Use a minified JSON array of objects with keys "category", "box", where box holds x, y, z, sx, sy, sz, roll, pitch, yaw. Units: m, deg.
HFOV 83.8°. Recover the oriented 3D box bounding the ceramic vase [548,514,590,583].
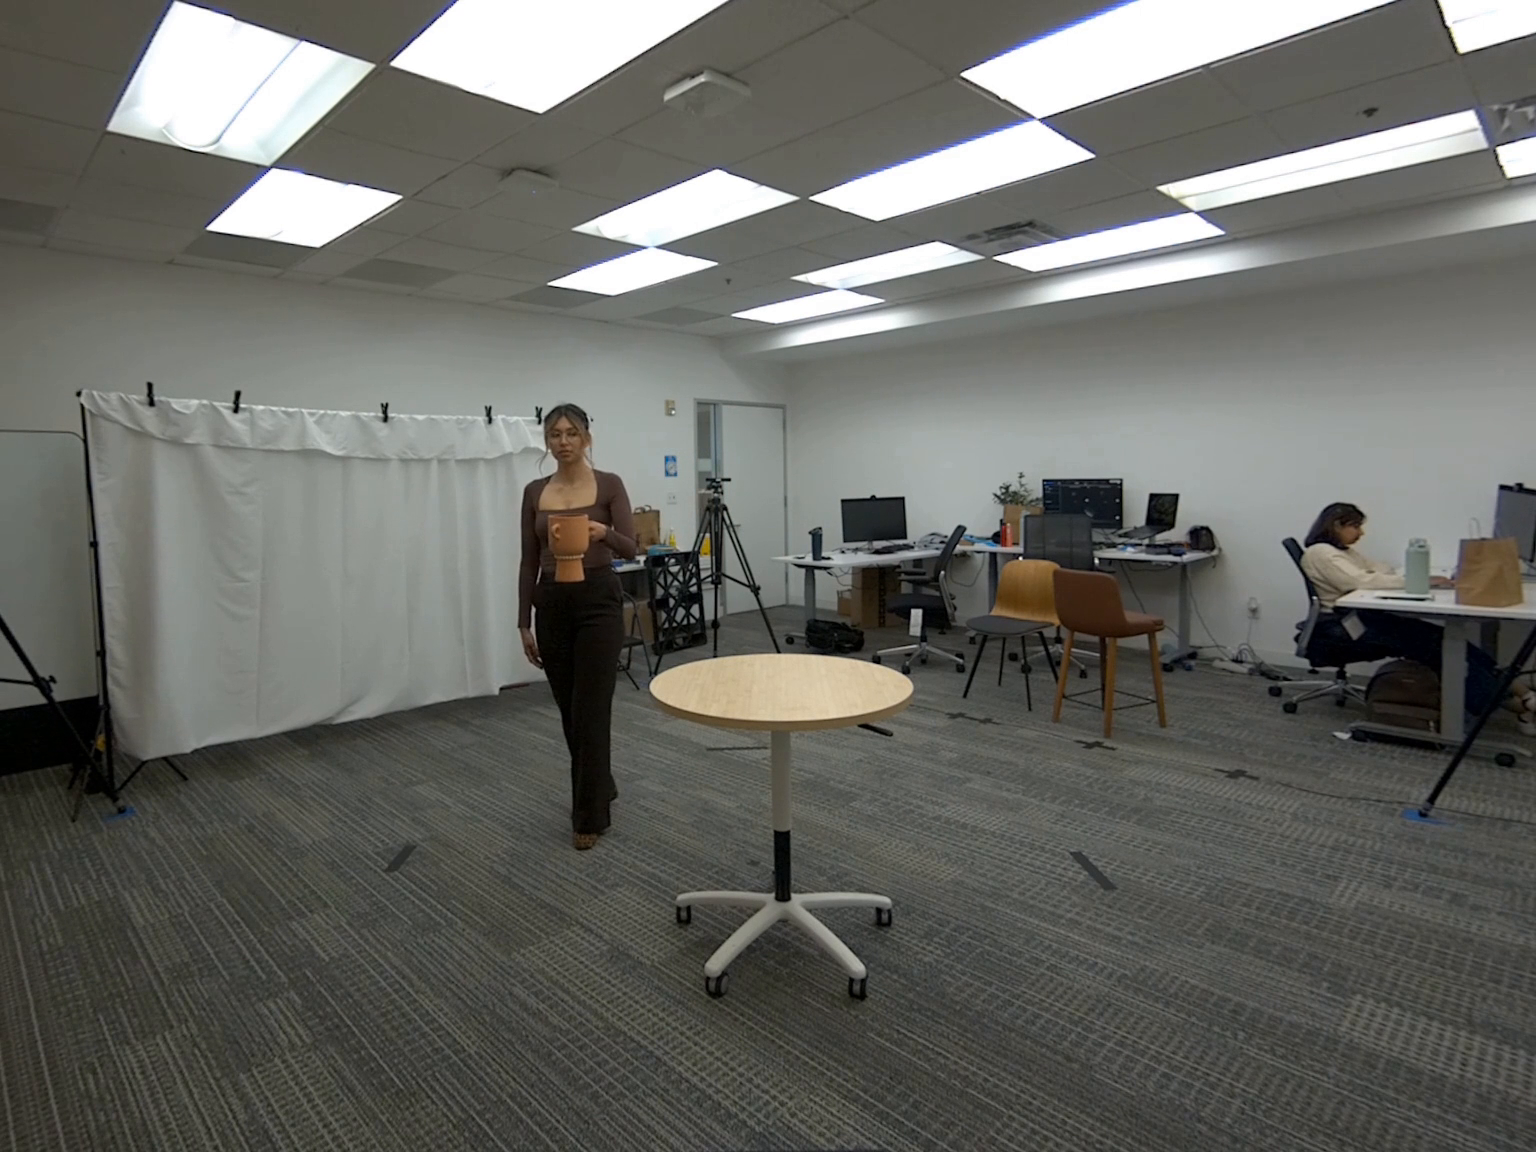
[{"category":"ceramic vase","box":[-0.672,-0.094,2.897,0.155,0.218,0.138,-4,7,-29]}]
